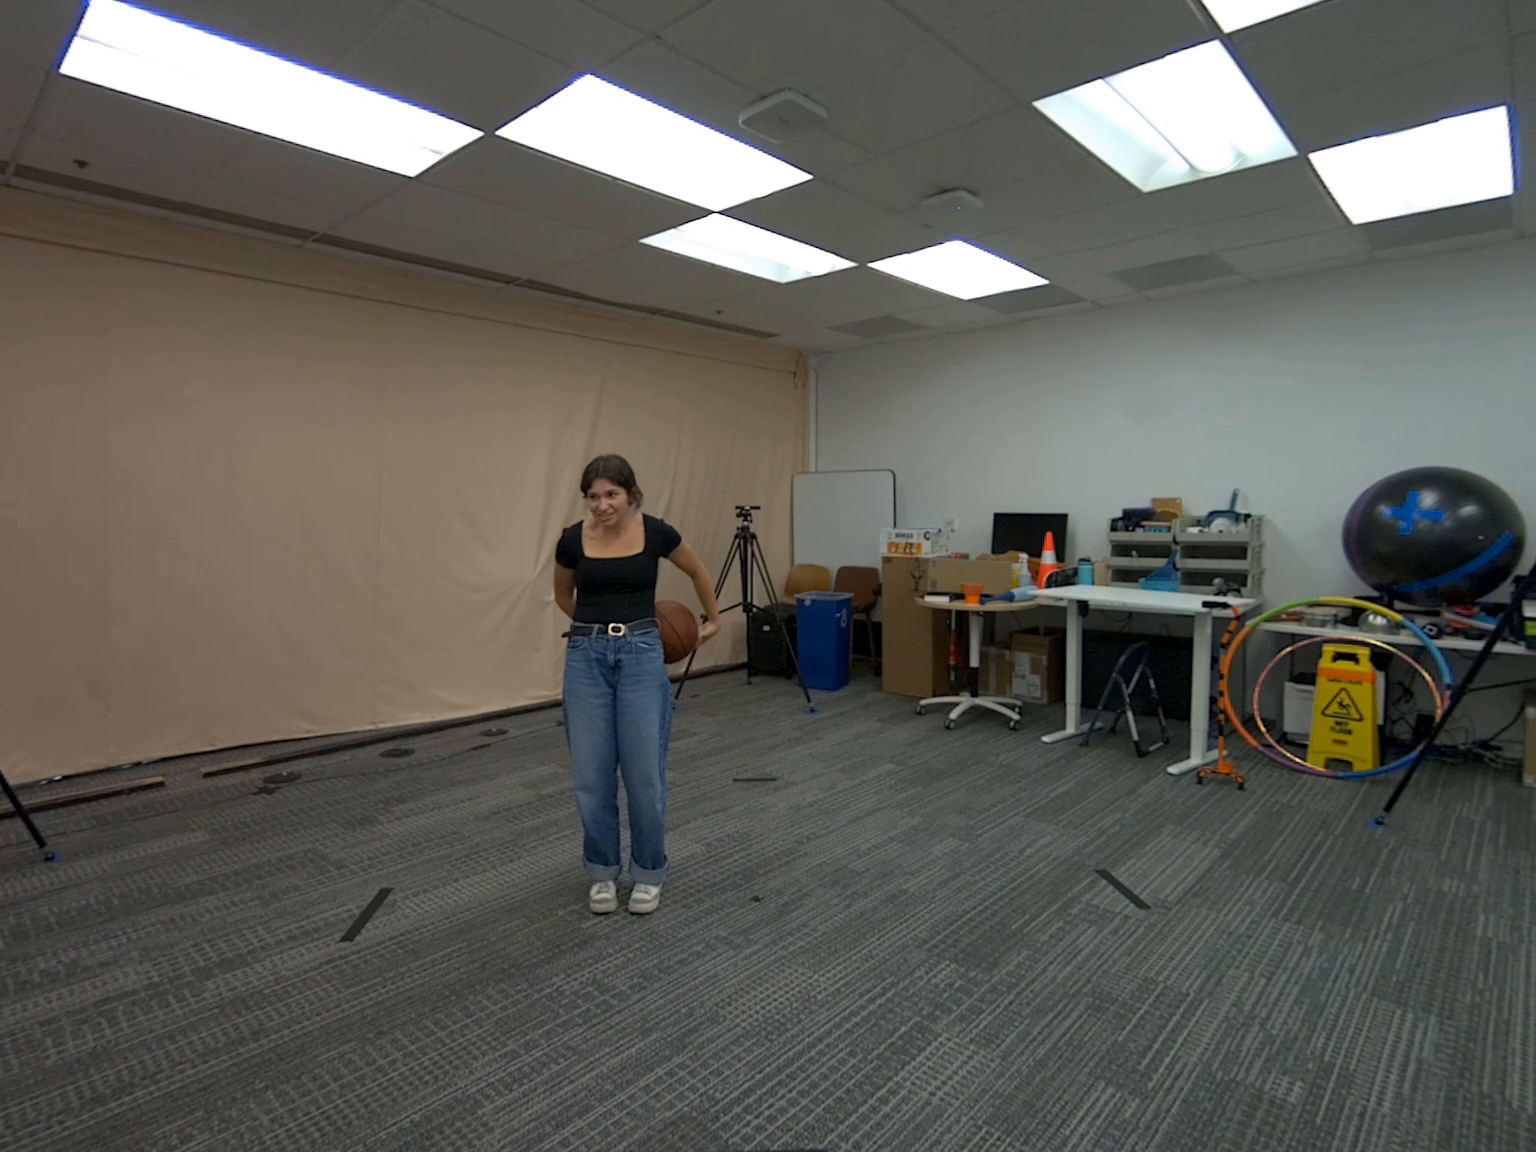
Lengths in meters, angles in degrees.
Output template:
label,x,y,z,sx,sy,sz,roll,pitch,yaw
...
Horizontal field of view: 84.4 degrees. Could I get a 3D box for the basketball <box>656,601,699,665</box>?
label,x,y,z,sx,sy,sz,roll,pitch,yaw
basketball,-0.389,0.210,3.161,0.236,0.235,0.237,0,4,-2
